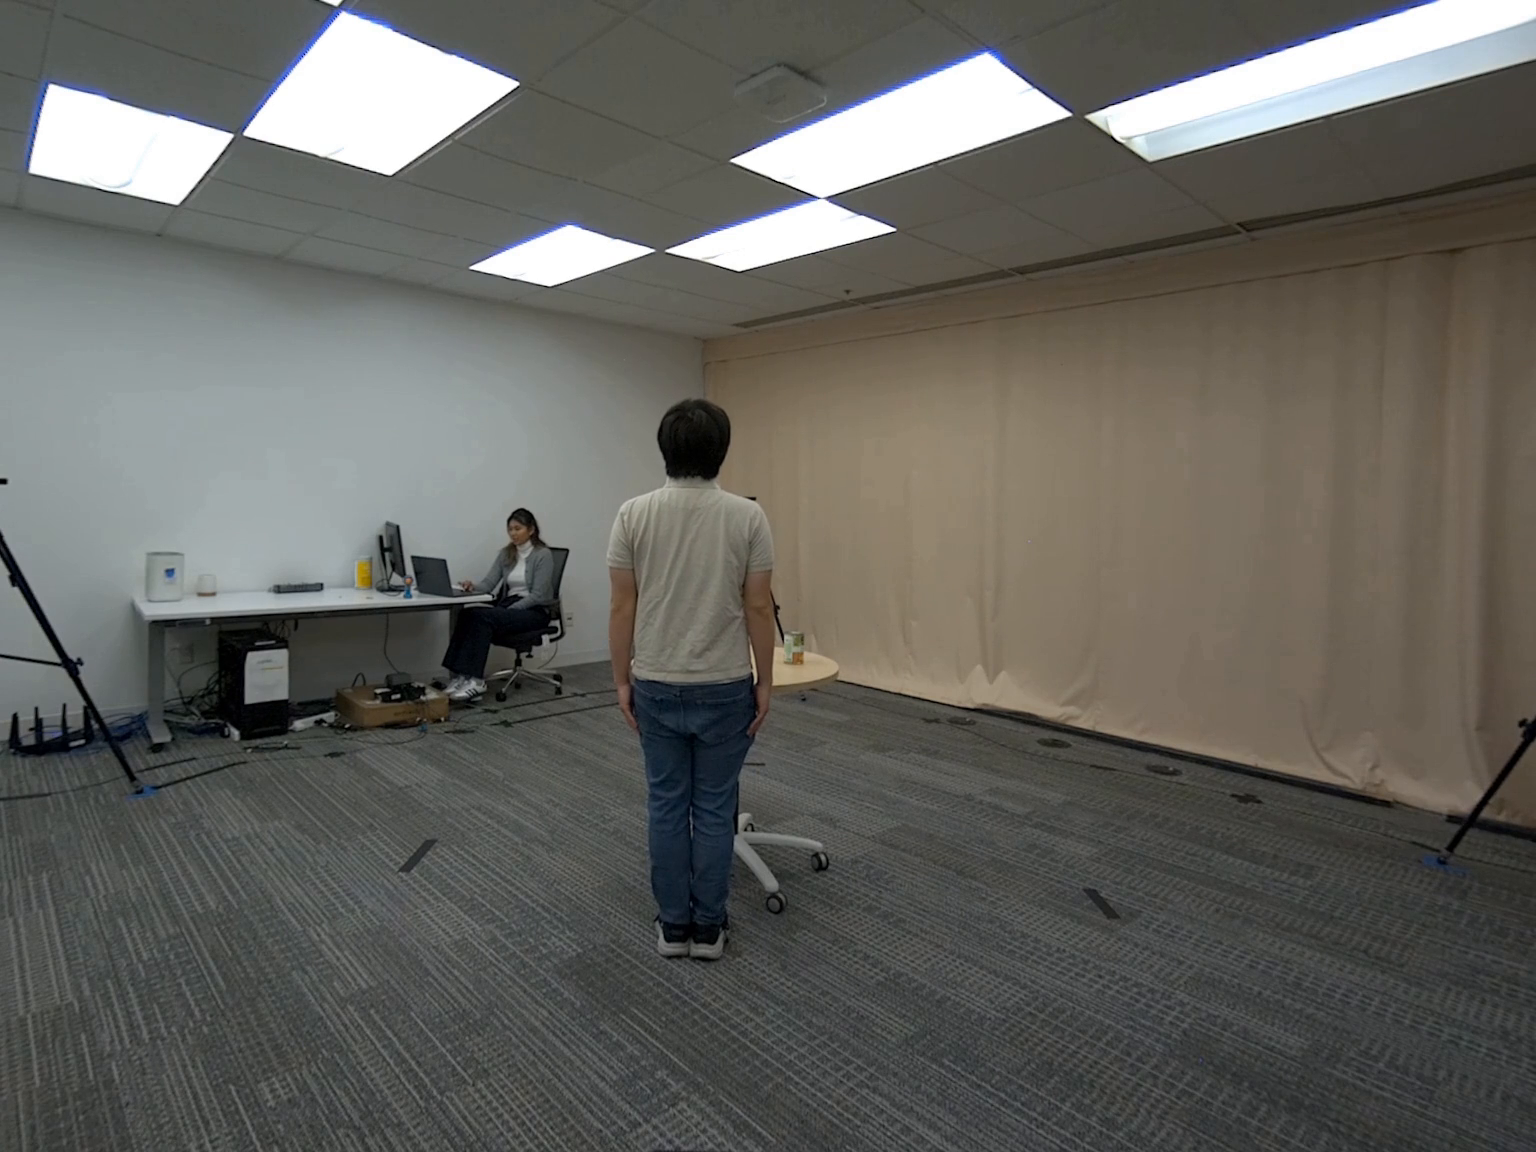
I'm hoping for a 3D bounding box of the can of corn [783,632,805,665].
[{"bbox_3d":[0.088,0.268,3.131,0.074,0.110,0.074,0,5,-1],"label":"can of corn"}]
